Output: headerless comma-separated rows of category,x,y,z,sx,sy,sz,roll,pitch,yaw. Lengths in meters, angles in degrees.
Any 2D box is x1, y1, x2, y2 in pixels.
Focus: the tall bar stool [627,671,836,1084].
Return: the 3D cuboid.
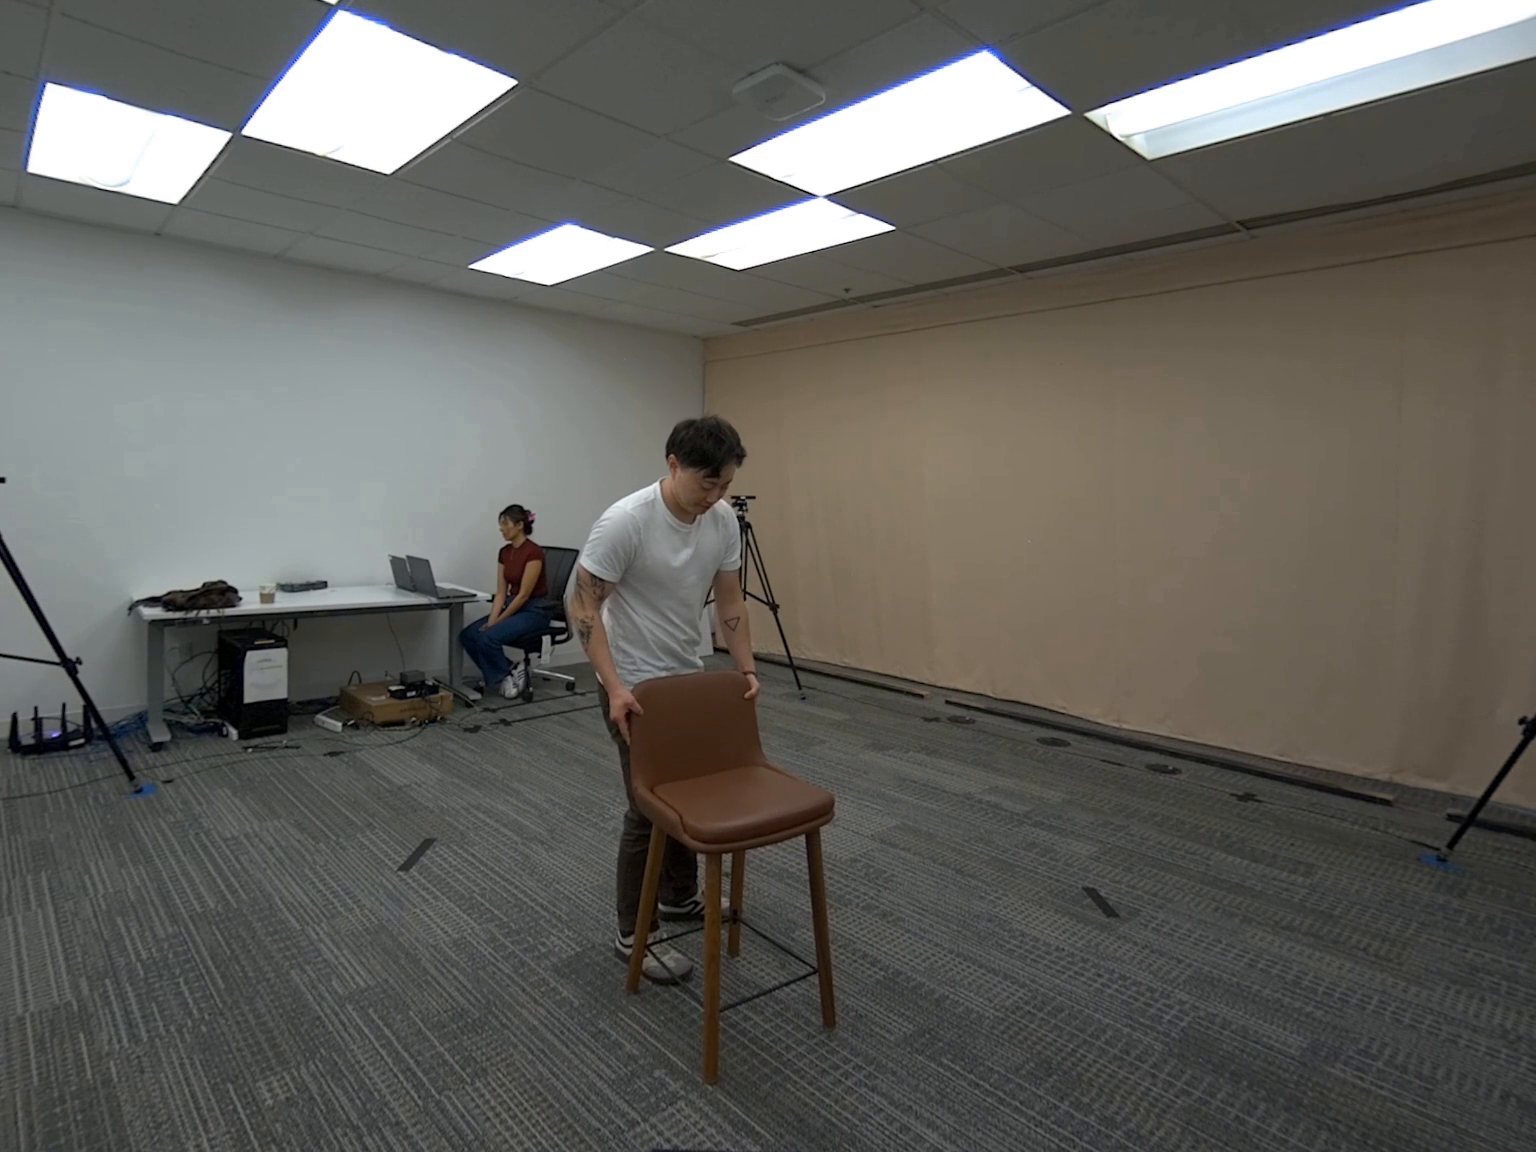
tall bar stool,-0.111,0.746,2.269,0.446,0.888,0.478,-2,3,-36
